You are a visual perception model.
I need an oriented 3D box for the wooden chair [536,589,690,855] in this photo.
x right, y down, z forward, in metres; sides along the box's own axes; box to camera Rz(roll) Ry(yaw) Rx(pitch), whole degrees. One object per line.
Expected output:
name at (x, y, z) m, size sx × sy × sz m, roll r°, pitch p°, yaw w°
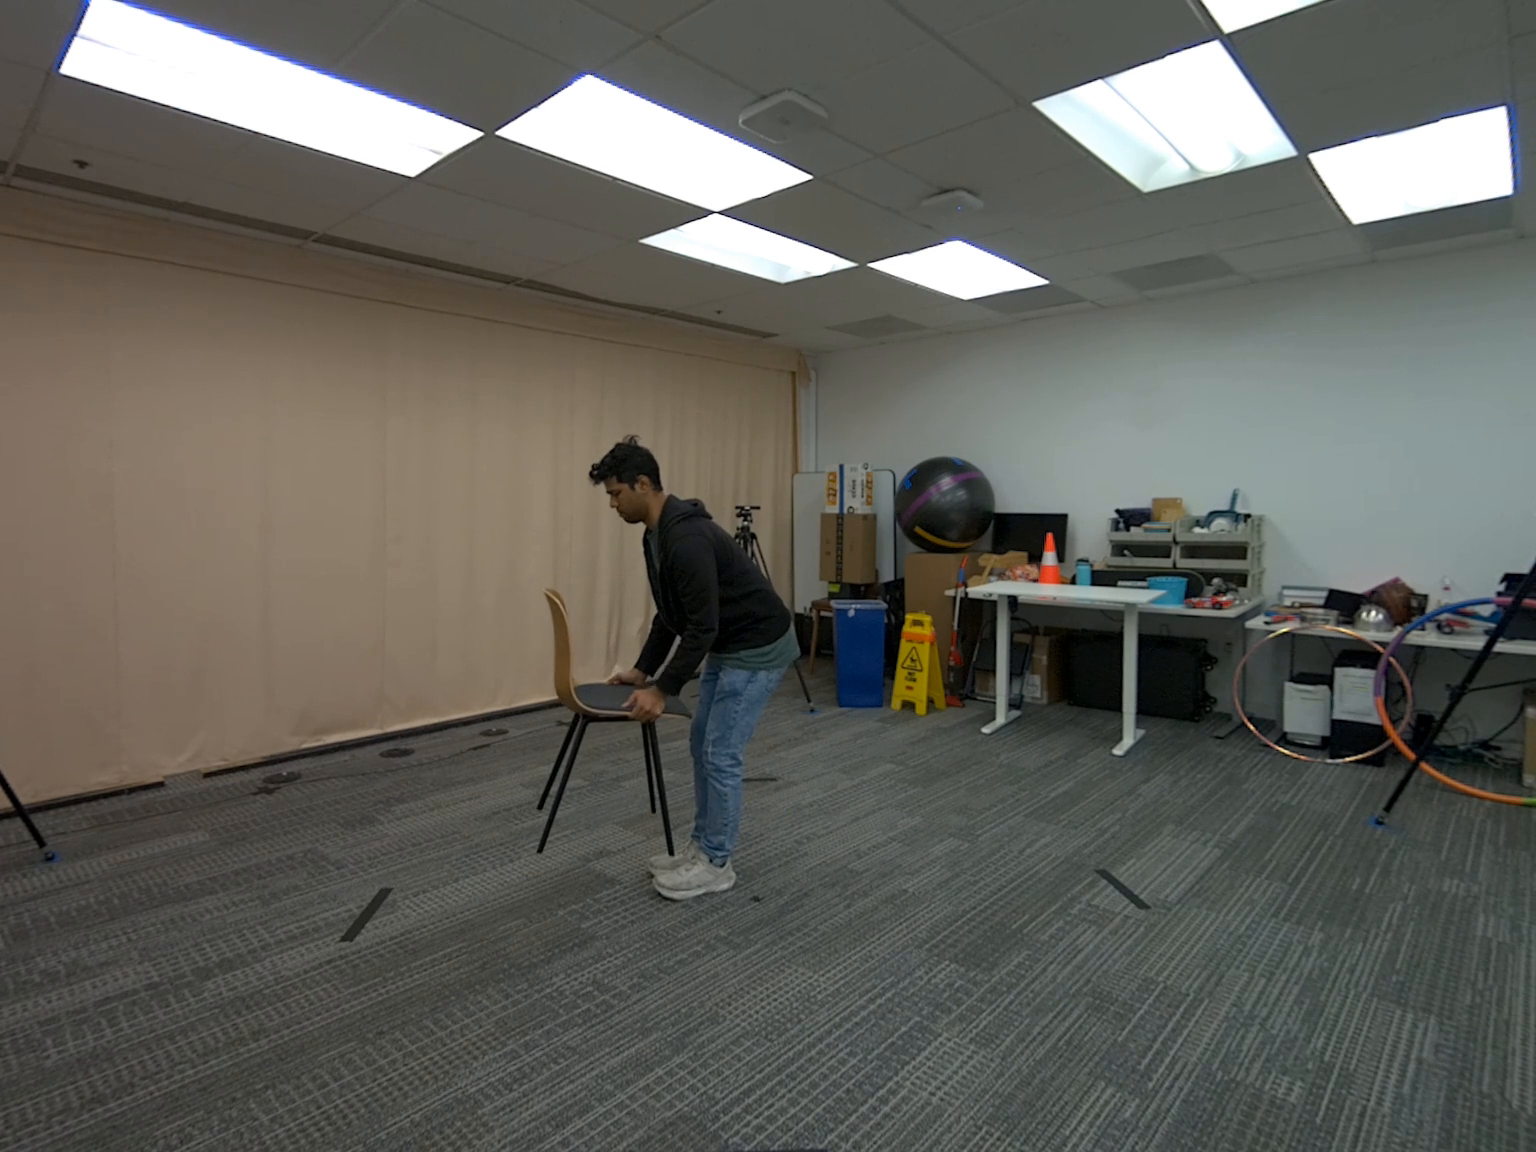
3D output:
wooden chair at (-0.546, 0.495, 3.003) m, size 0.515 × 0.877 × 0.485 m, roll 1°, pitch 0°, yaw -15°
